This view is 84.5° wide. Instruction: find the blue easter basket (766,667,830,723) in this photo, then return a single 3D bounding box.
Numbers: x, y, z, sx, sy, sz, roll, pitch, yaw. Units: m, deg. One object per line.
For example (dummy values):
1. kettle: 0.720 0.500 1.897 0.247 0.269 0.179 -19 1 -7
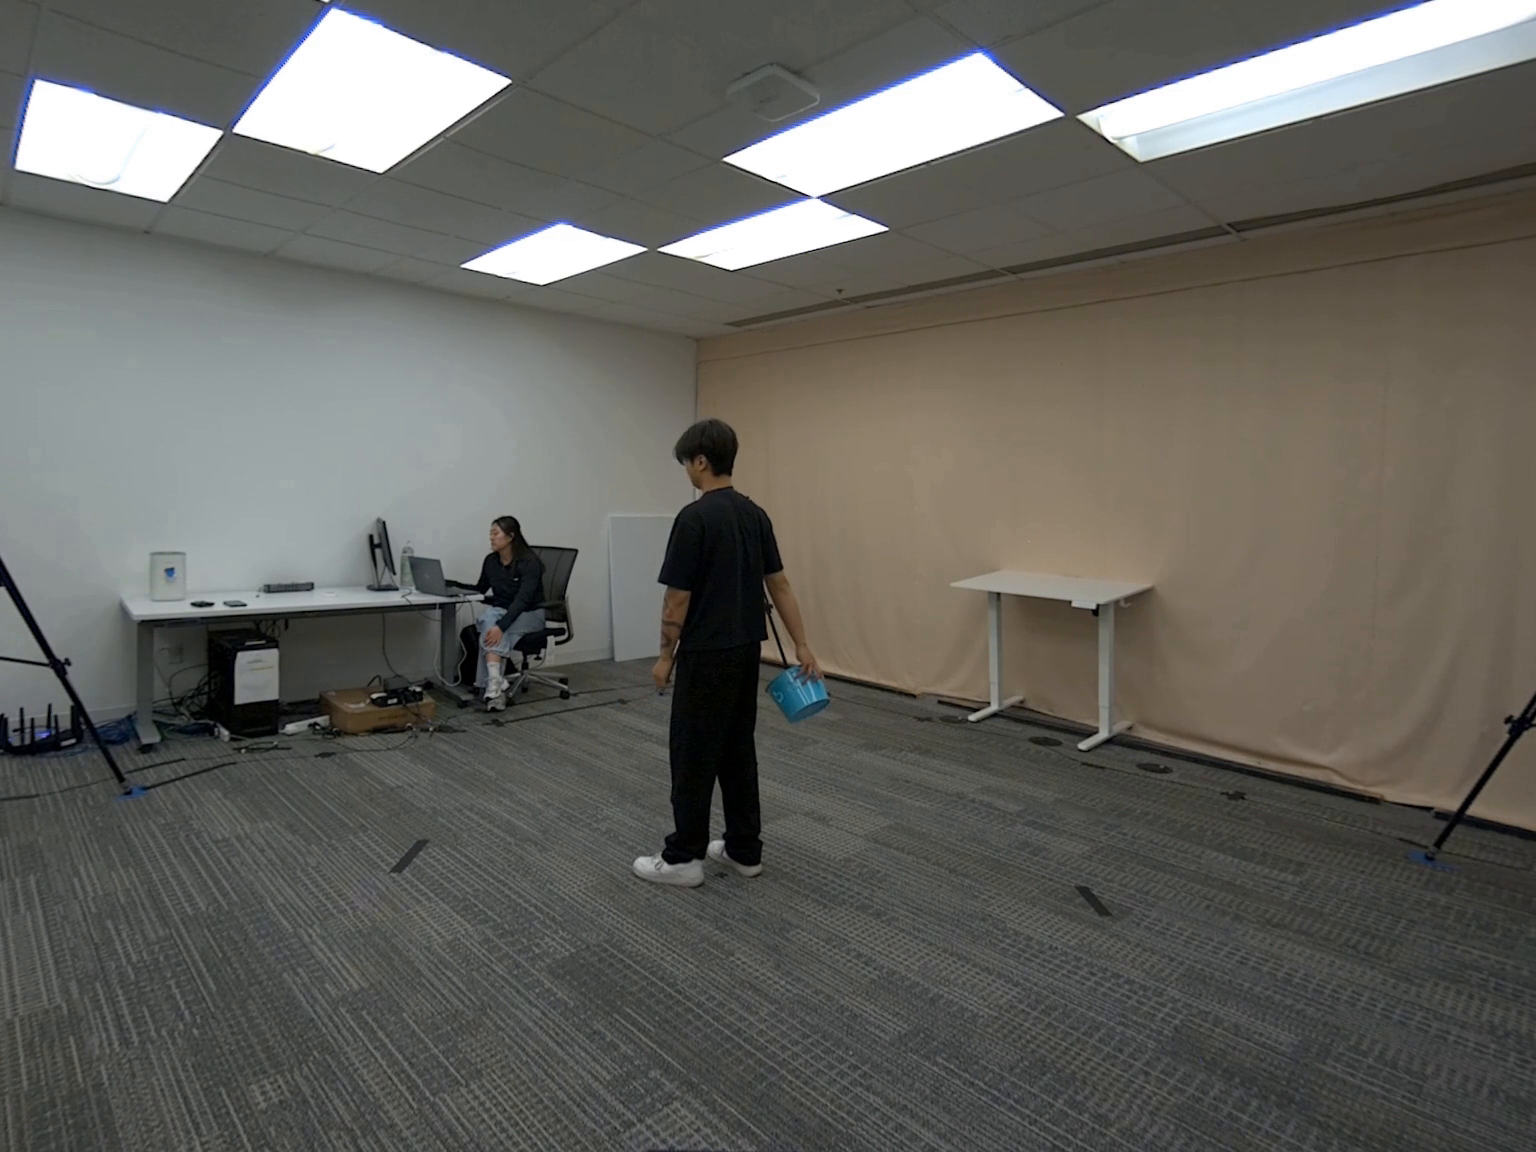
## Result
1. blue easter basket: 0.115 0.462 3.302 0.242 0.160 0.239 -23 -26 -14
